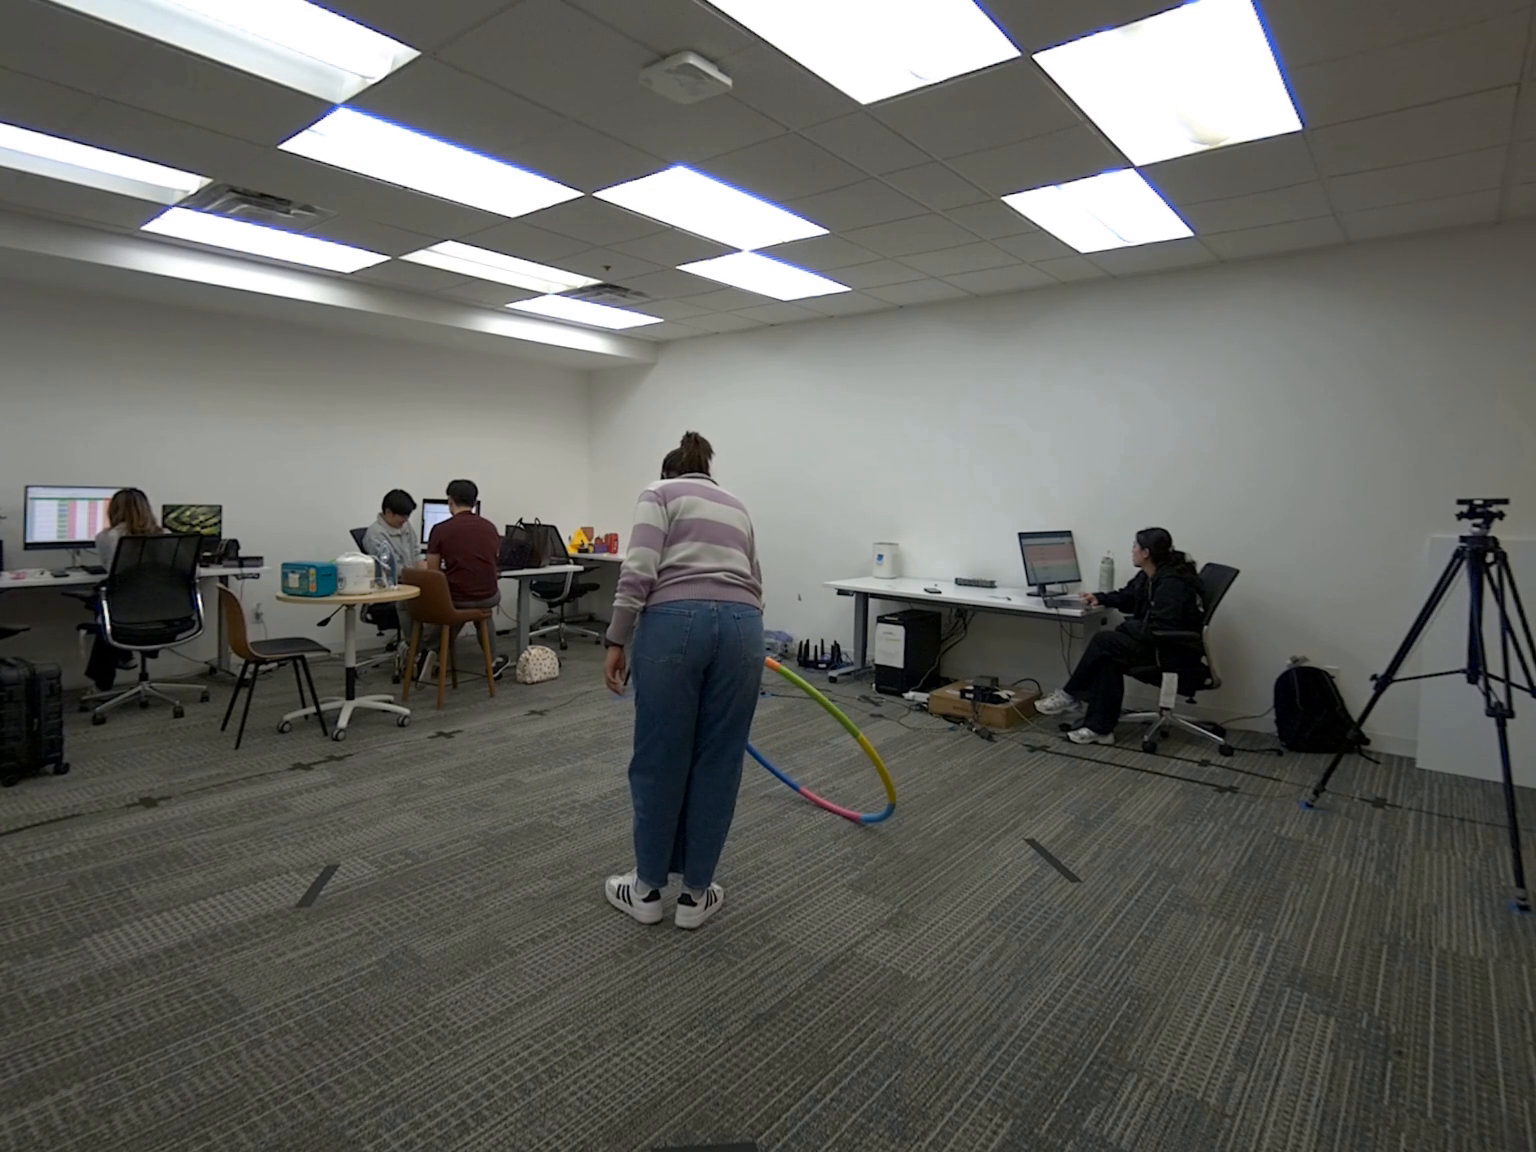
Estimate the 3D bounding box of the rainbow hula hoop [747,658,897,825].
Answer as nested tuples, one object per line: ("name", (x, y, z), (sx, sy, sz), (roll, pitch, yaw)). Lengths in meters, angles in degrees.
("rainbow hula hoop", (0.086, 0.645, 3.486), (1.012, 0.948, 0.035), (6, 44, 50))
